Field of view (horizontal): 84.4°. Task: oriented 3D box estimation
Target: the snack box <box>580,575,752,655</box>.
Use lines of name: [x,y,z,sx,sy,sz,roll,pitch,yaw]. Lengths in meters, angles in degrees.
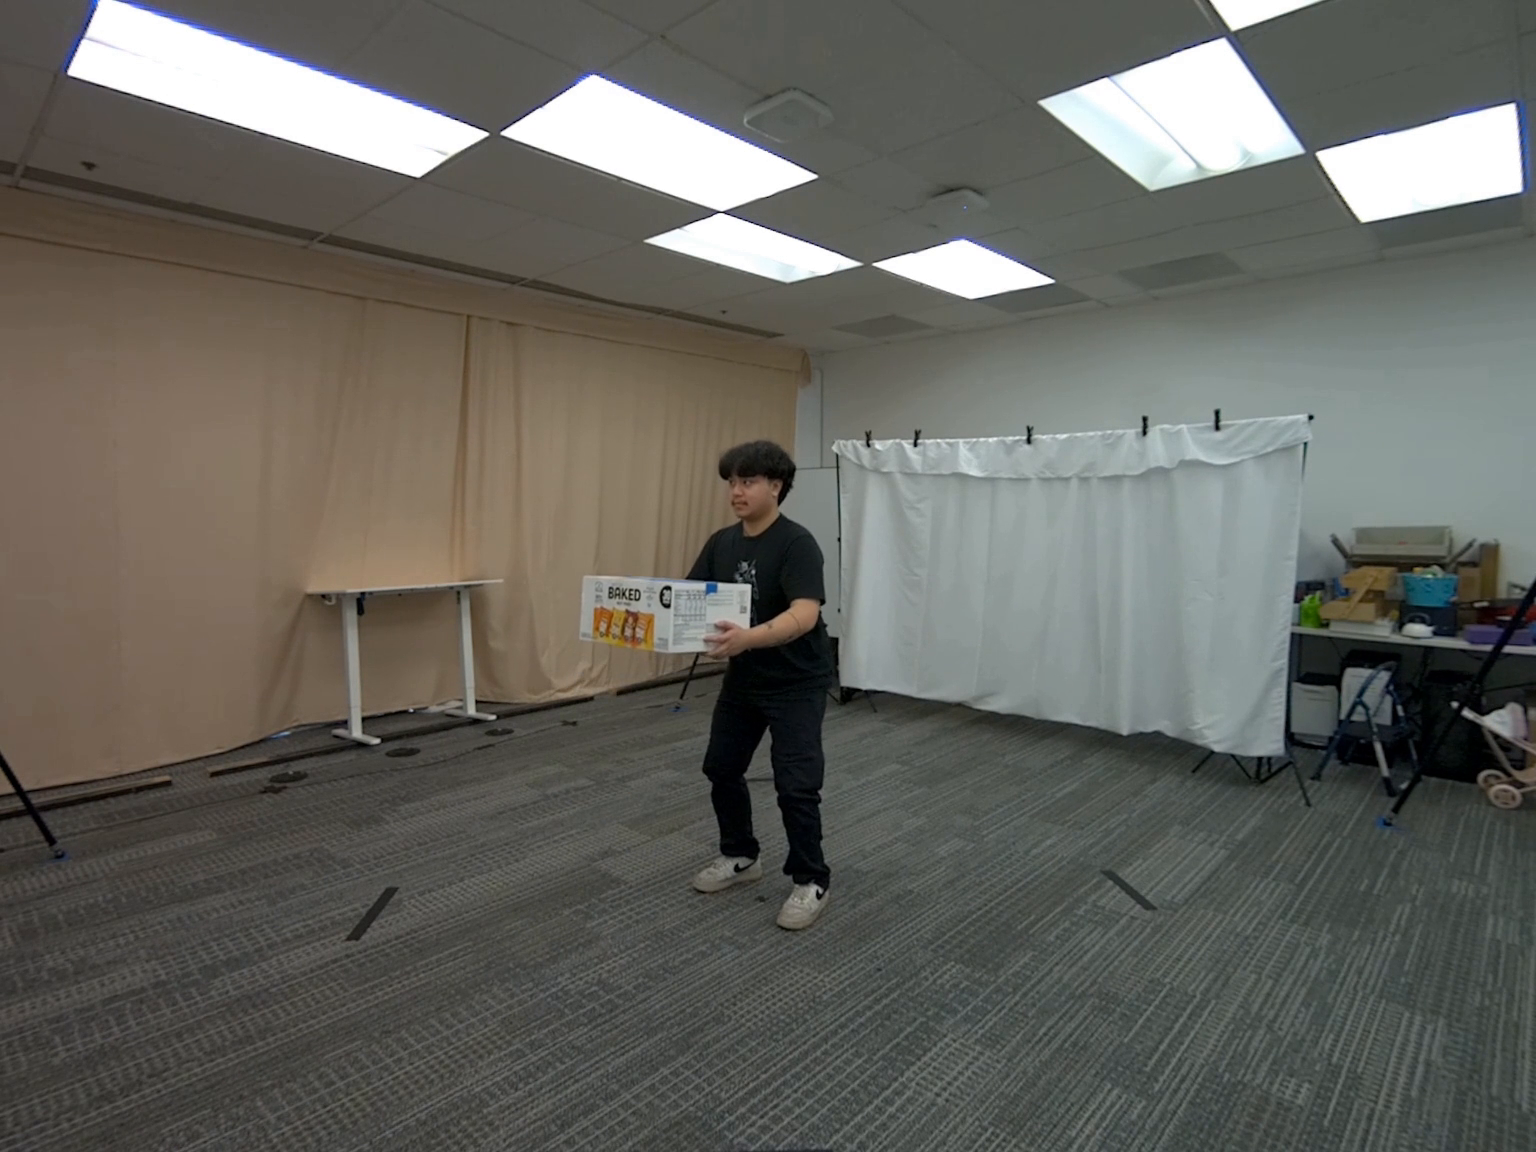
snack box: [-0.313,0.119,2.621,0.419,0.205,0.329,4,1,41]
